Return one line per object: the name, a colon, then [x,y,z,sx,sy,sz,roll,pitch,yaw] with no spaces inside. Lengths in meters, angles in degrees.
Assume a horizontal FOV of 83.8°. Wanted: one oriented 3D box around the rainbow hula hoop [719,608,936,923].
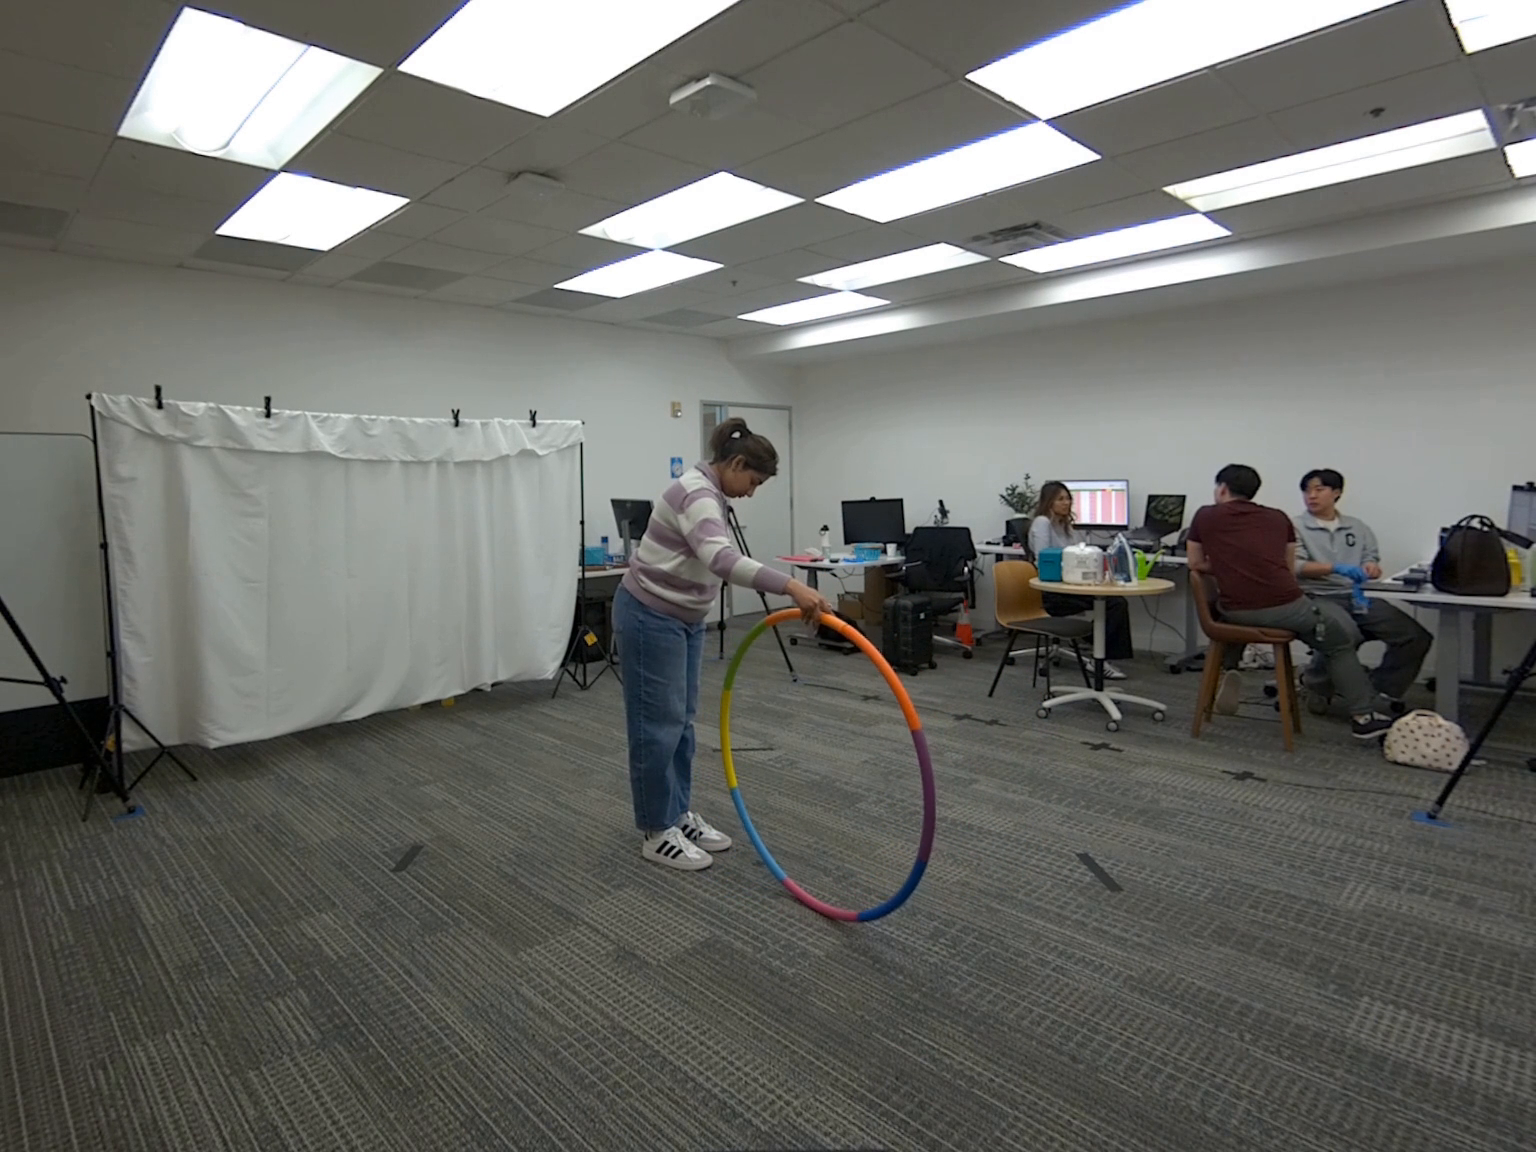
rainbow hula hoop: [0.149,0.598,2.733,0.034,0.974,1.008,-5,6,-37]
